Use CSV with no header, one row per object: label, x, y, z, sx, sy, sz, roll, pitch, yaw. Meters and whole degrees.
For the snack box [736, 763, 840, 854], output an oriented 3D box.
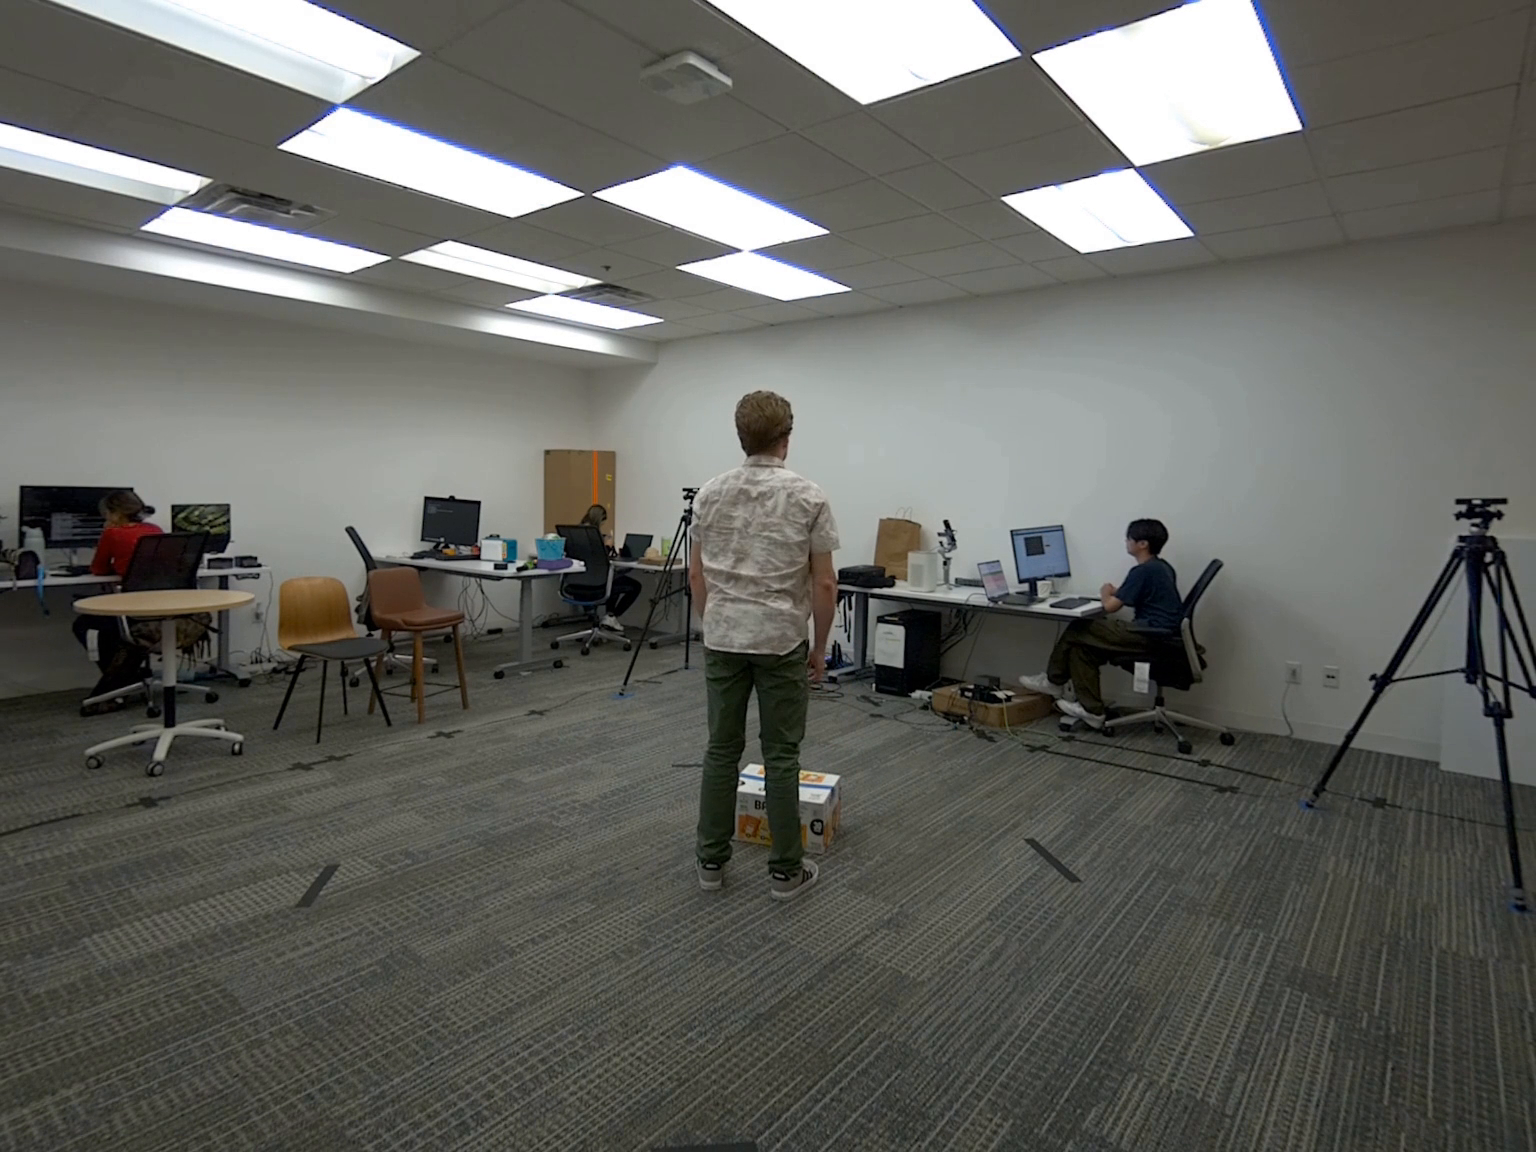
snack box,0.057,0.939,3.475,0.413,0.205,0.335,3,5,17
